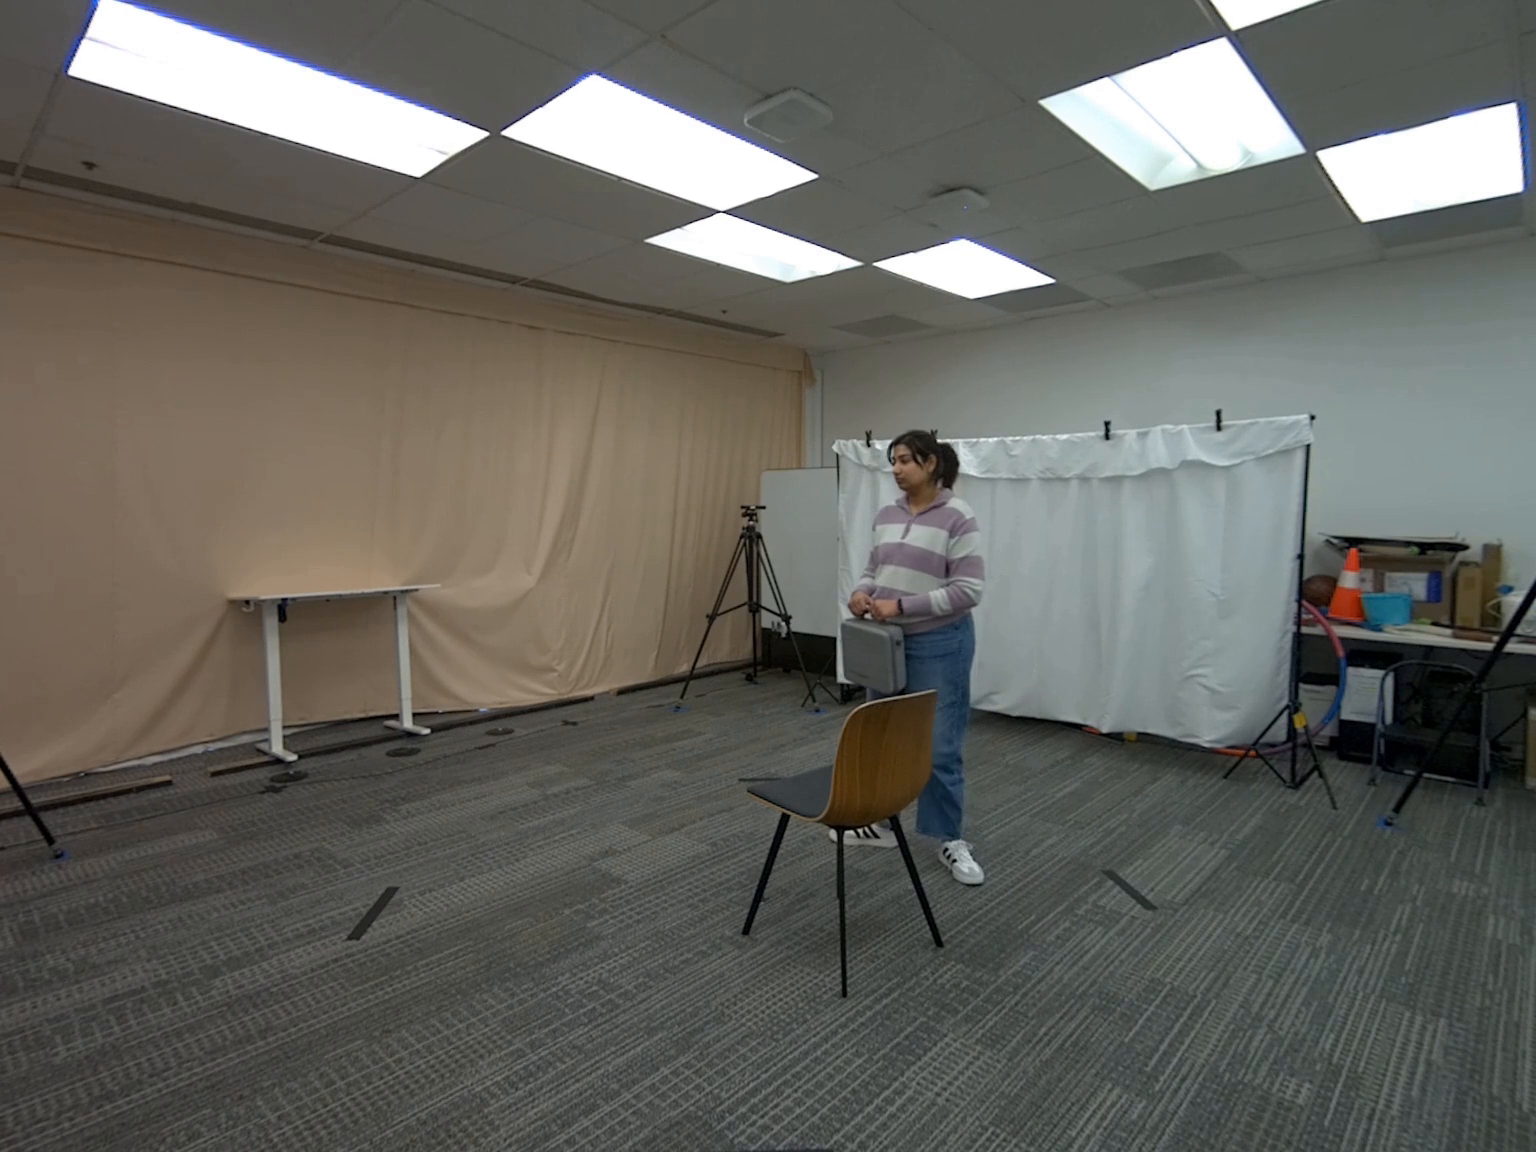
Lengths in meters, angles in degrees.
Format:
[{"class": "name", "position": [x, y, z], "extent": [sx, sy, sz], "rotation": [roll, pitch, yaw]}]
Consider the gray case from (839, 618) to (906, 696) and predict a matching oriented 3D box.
[{"class": "gray case", "position": [0.404, 0.291, 3.192], "extent": [0.101, 0.258, 0.266], "rotation": [-14, 15, -39]}]
